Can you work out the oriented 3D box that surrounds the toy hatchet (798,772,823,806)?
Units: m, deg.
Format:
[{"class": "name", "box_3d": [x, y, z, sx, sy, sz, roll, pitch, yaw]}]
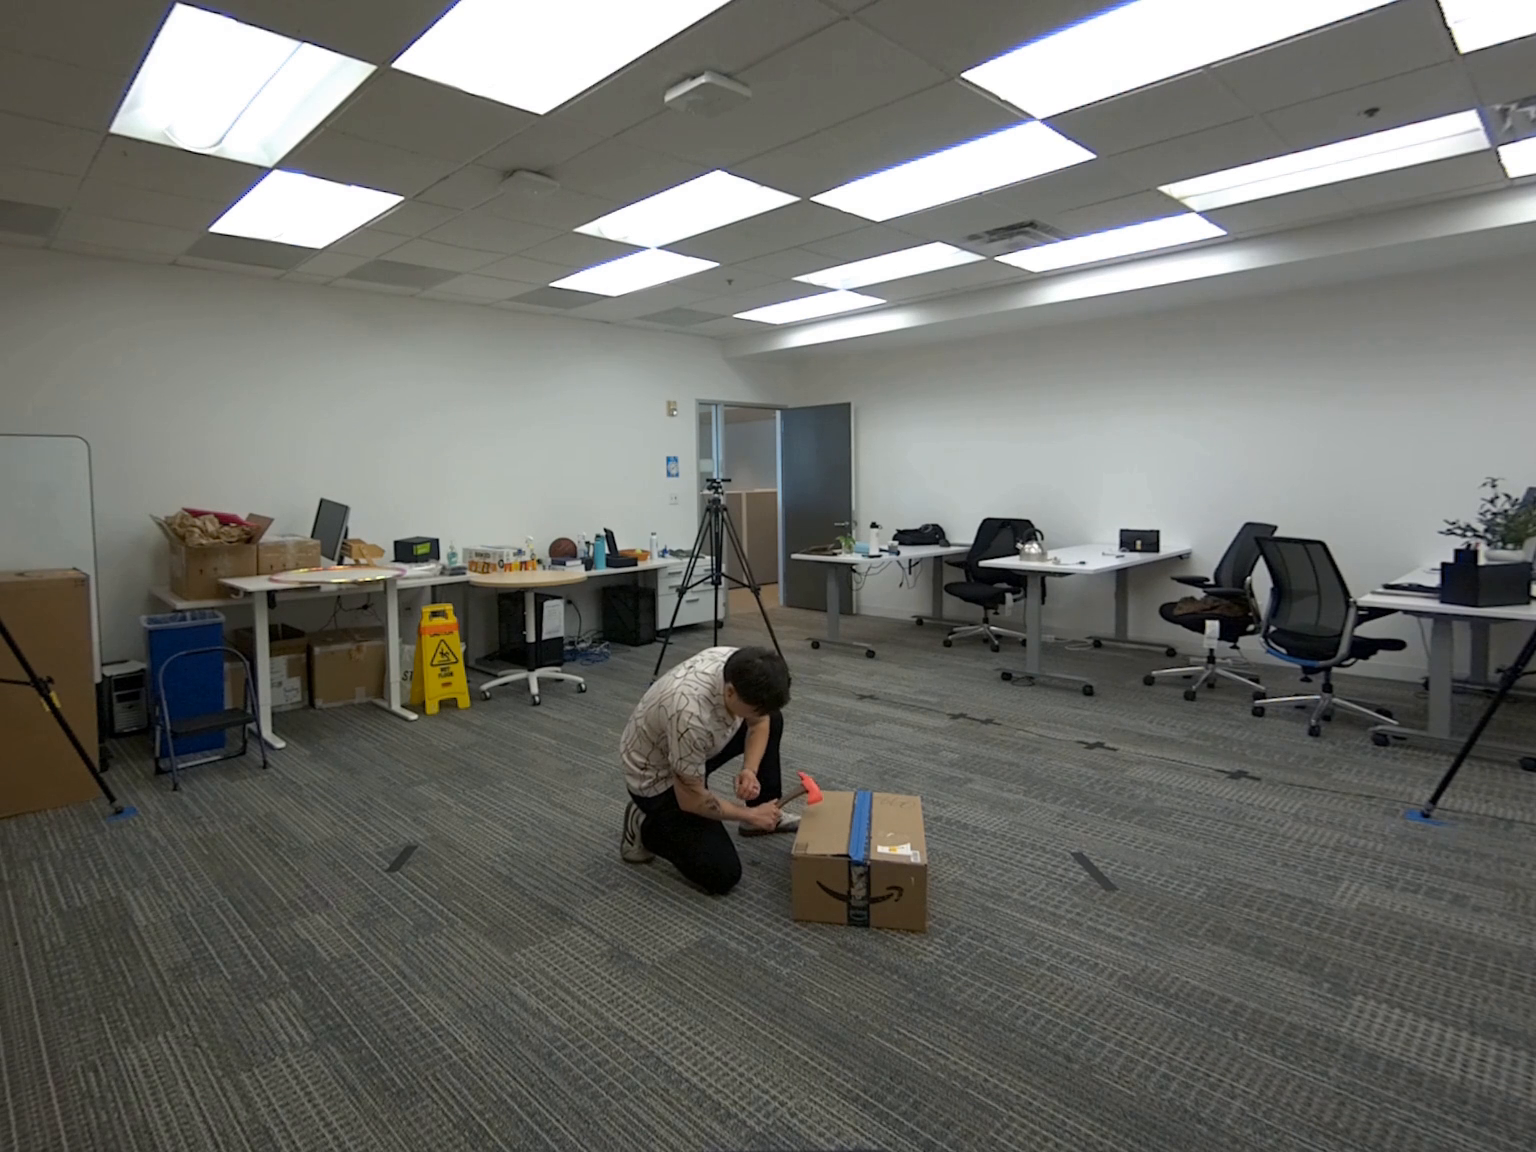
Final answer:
[{"class": "toy hatchet", "box_3d": [0.086, 0.804, 2.959, 0.134, 0.029, 0.269, 30, 51, 21]}]
